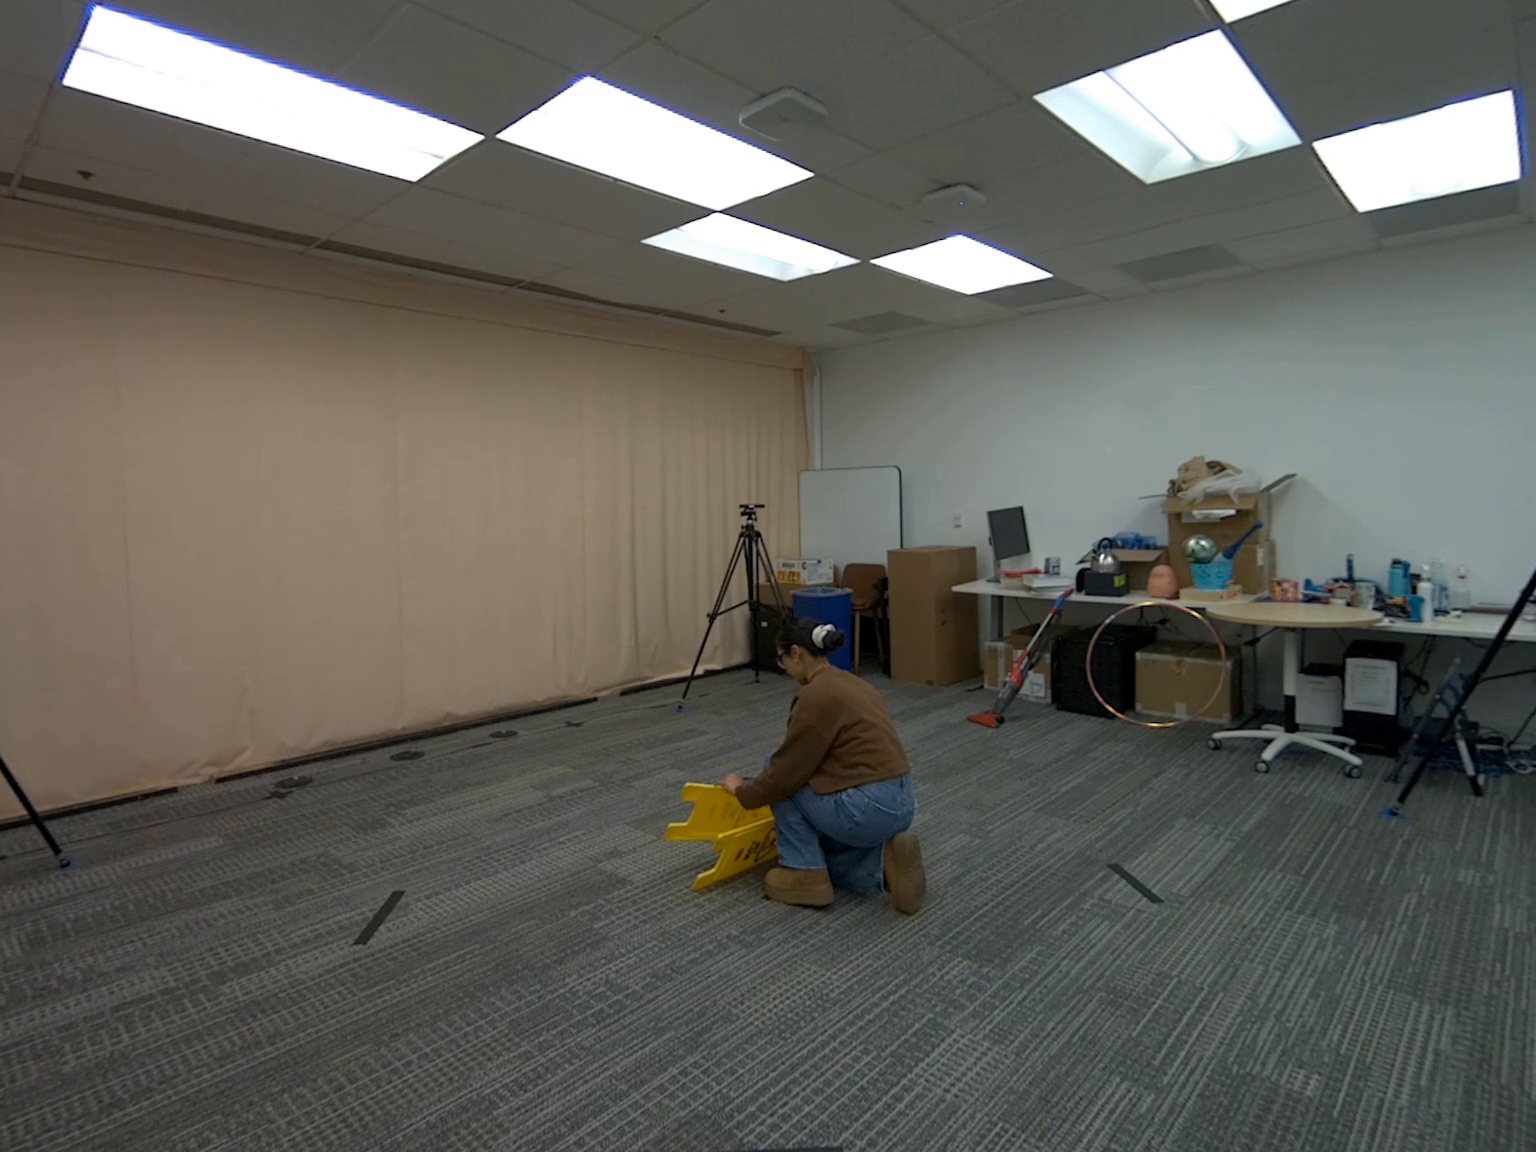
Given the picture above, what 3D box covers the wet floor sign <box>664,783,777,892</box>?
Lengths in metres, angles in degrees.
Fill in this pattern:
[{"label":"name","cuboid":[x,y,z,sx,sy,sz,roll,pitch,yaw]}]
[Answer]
[{"label":"wet floor sign","cuboid":[-0.034,0.973,3.269,0.626,0.281,0.300,4,28,-35]}]
